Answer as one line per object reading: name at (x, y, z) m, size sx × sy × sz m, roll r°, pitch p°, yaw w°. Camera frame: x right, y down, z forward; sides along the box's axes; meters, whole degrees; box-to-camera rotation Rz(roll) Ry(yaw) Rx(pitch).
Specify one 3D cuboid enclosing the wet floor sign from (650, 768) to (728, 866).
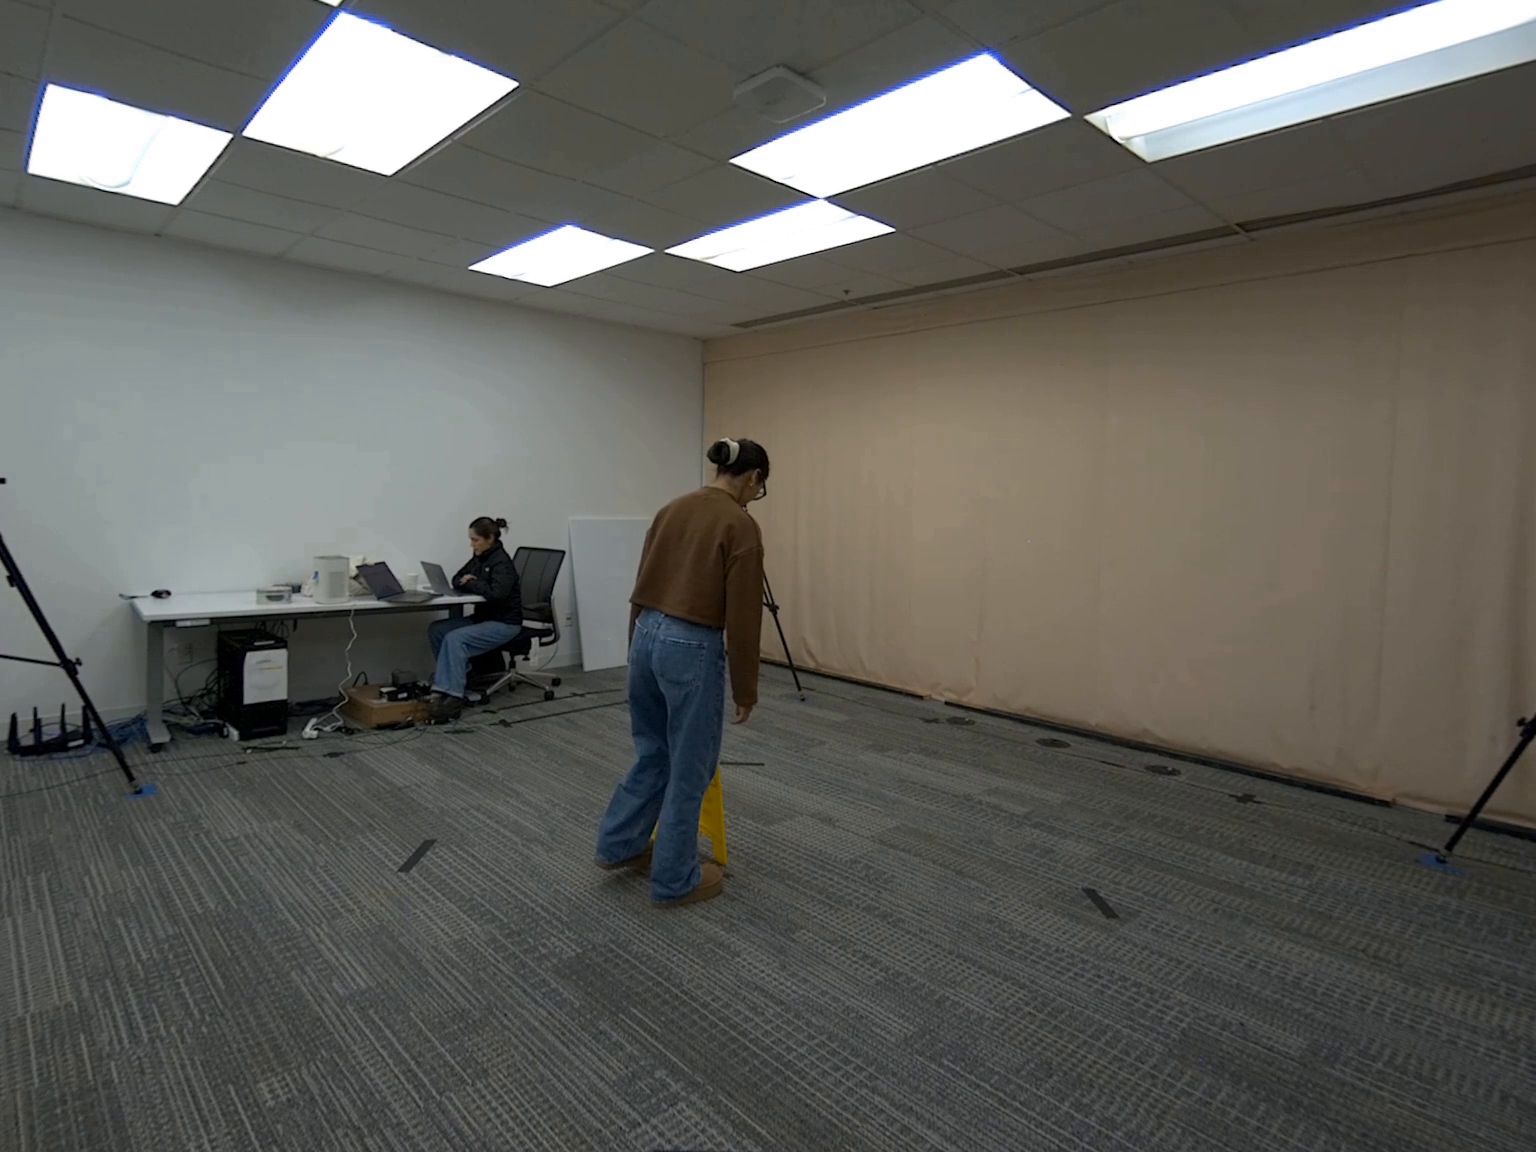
wet floor sign at (-0.312, 0.757, 3.235) m, size 0.282 × 0.646 × 0.289 m, roll 9°, pitch -2°, yaw -36°
